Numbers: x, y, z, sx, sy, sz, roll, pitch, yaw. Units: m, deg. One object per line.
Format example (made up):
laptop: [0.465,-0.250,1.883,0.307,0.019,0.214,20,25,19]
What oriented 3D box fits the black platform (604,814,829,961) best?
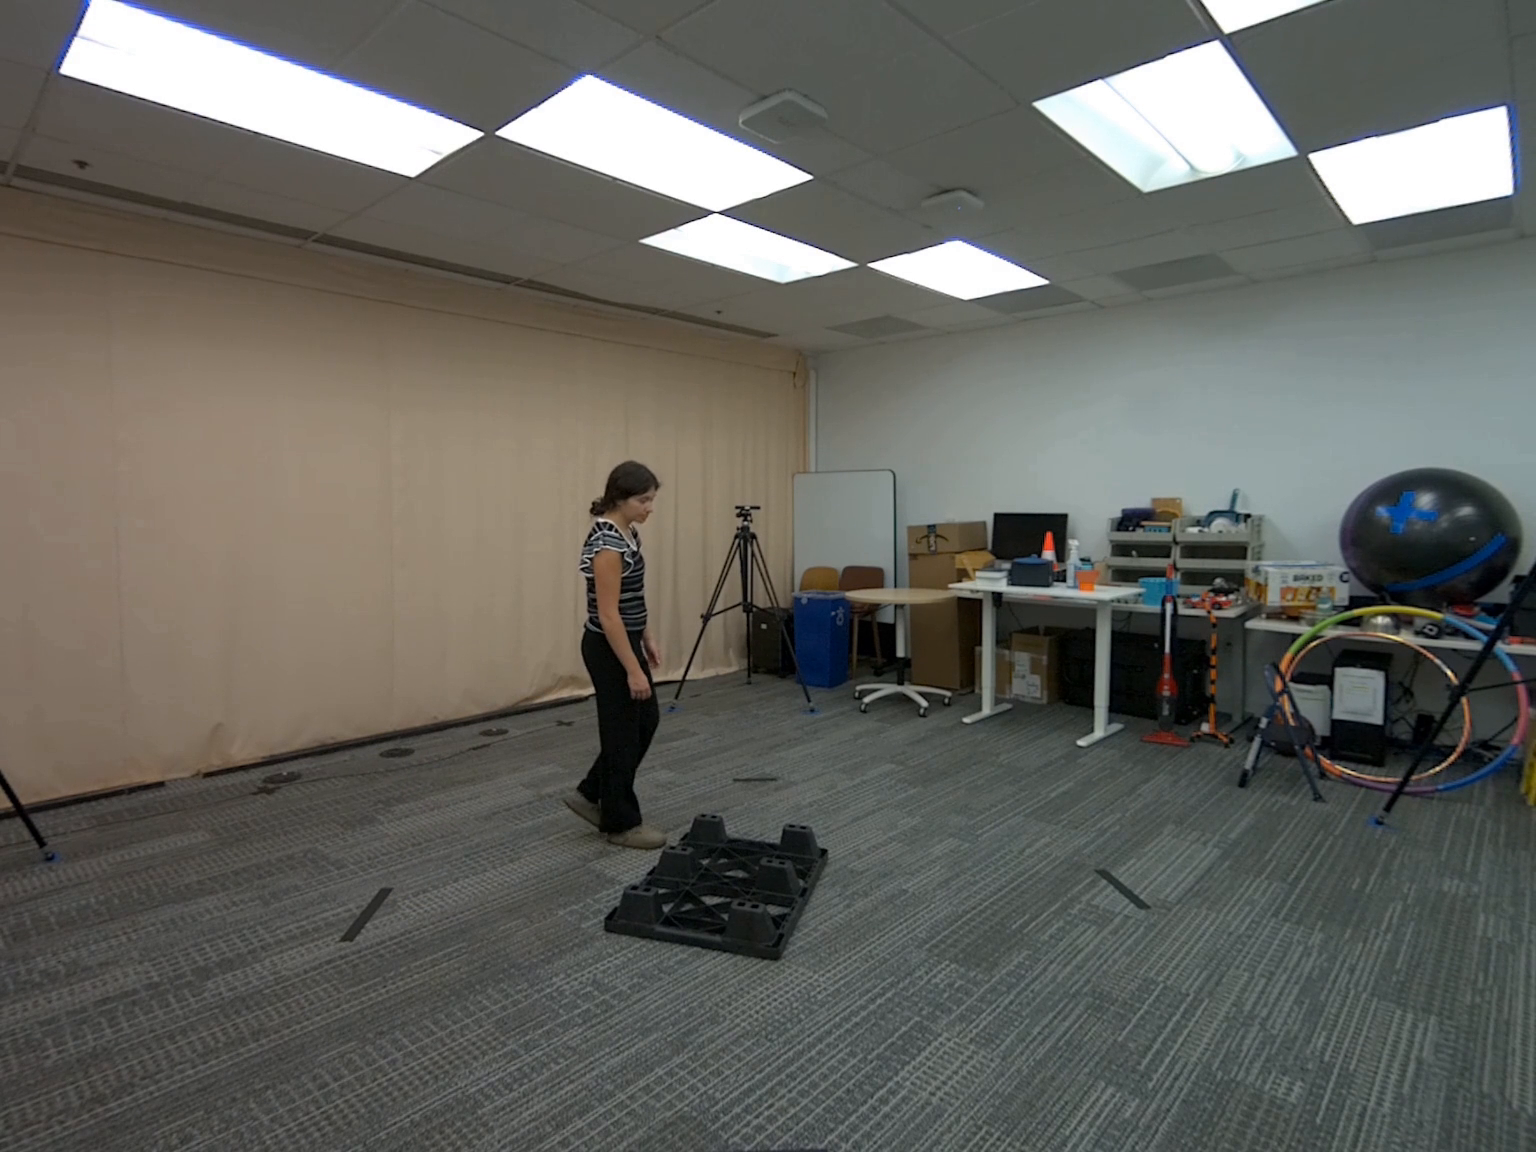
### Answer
black platform: [-0.152,1.073,3.040,0.616,0.143,0.793,1,5,16]
